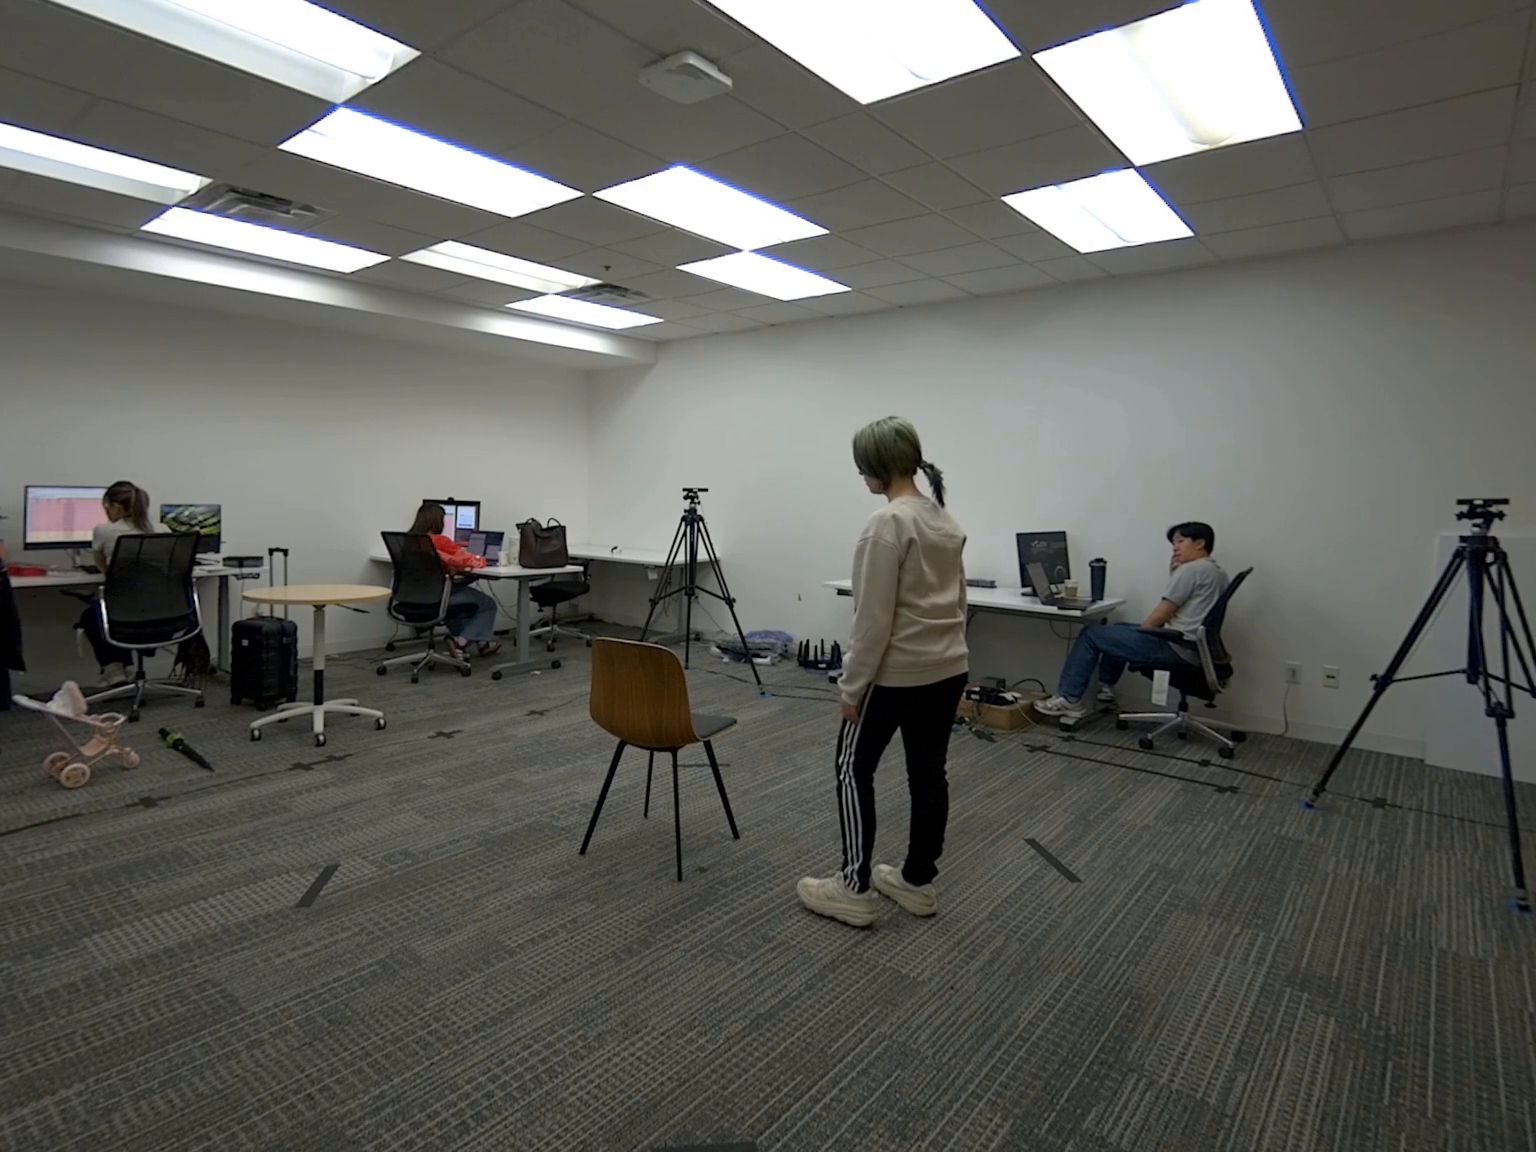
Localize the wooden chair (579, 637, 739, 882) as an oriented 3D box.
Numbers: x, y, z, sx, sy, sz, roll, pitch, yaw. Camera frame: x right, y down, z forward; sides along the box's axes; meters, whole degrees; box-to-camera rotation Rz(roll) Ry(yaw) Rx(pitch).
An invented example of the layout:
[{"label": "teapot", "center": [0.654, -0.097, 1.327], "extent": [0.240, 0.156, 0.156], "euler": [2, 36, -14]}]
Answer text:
[{"label": "wooden chair", "center": [-0.413, 0.621, 3.287], "extent": [0.491, 0.872, 0.512], "euler": [3, 8, 27]}]
